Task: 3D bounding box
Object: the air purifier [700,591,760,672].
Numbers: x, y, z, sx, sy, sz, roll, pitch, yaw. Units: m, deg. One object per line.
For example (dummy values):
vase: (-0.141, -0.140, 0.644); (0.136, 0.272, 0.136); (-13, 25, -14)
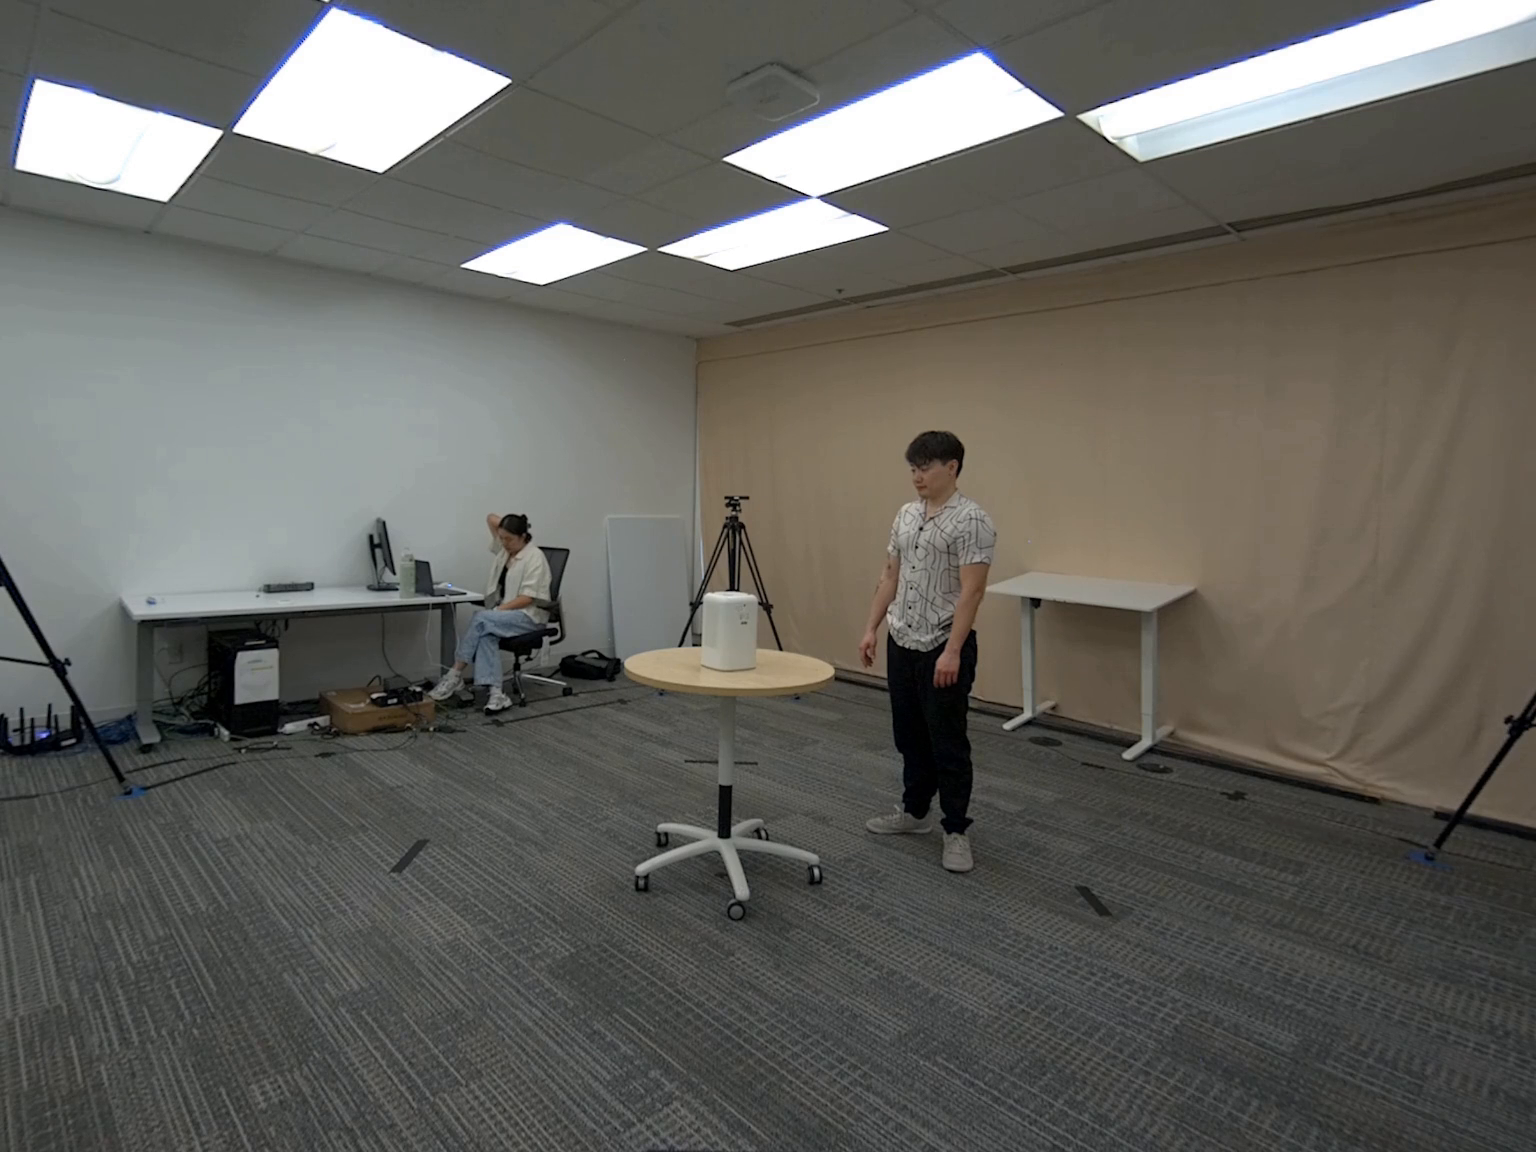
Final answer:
air purifier: (-0.145, 0.194, 3.036); (0.167, 0.265, 0.176); (-1, 5, -36)
